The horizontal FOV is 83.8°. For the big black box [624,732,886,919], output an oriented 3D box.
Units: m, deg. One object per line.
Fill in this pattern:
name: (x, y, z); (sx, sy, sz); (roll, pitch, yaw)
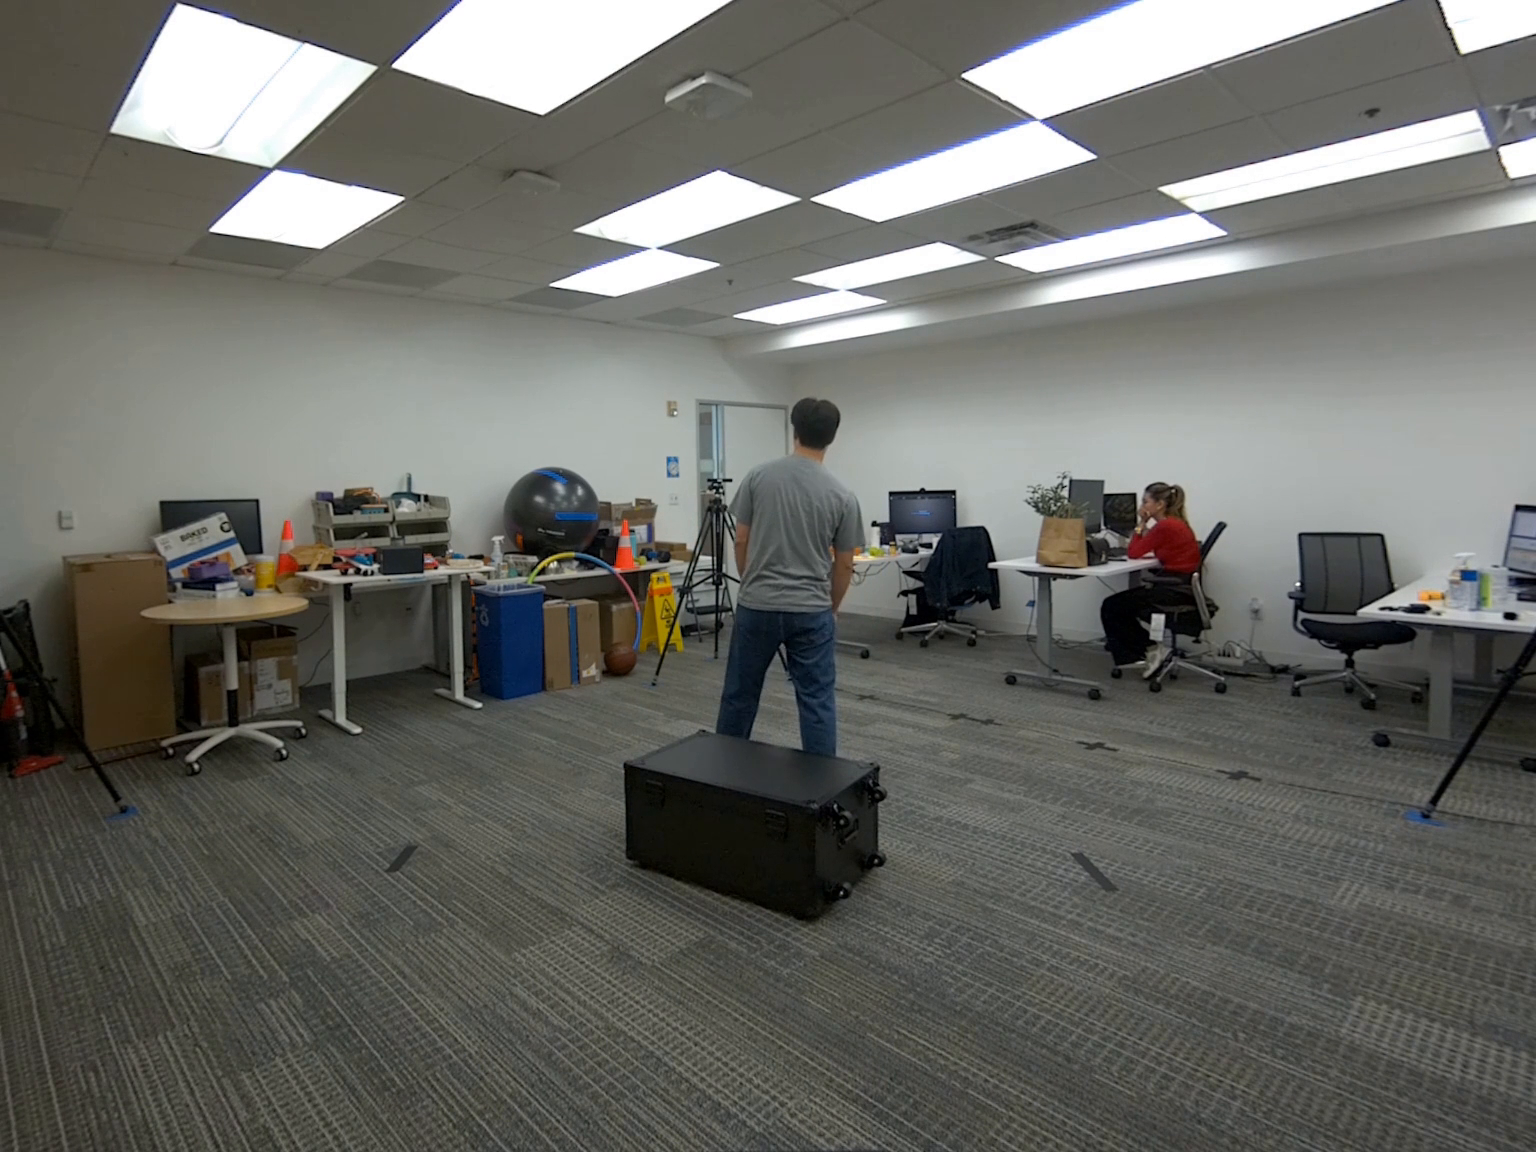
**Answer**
big black box: (-0.034, 0.861, 3.048); (0.886, 0.395, 0.509); (3, 6, 33)
